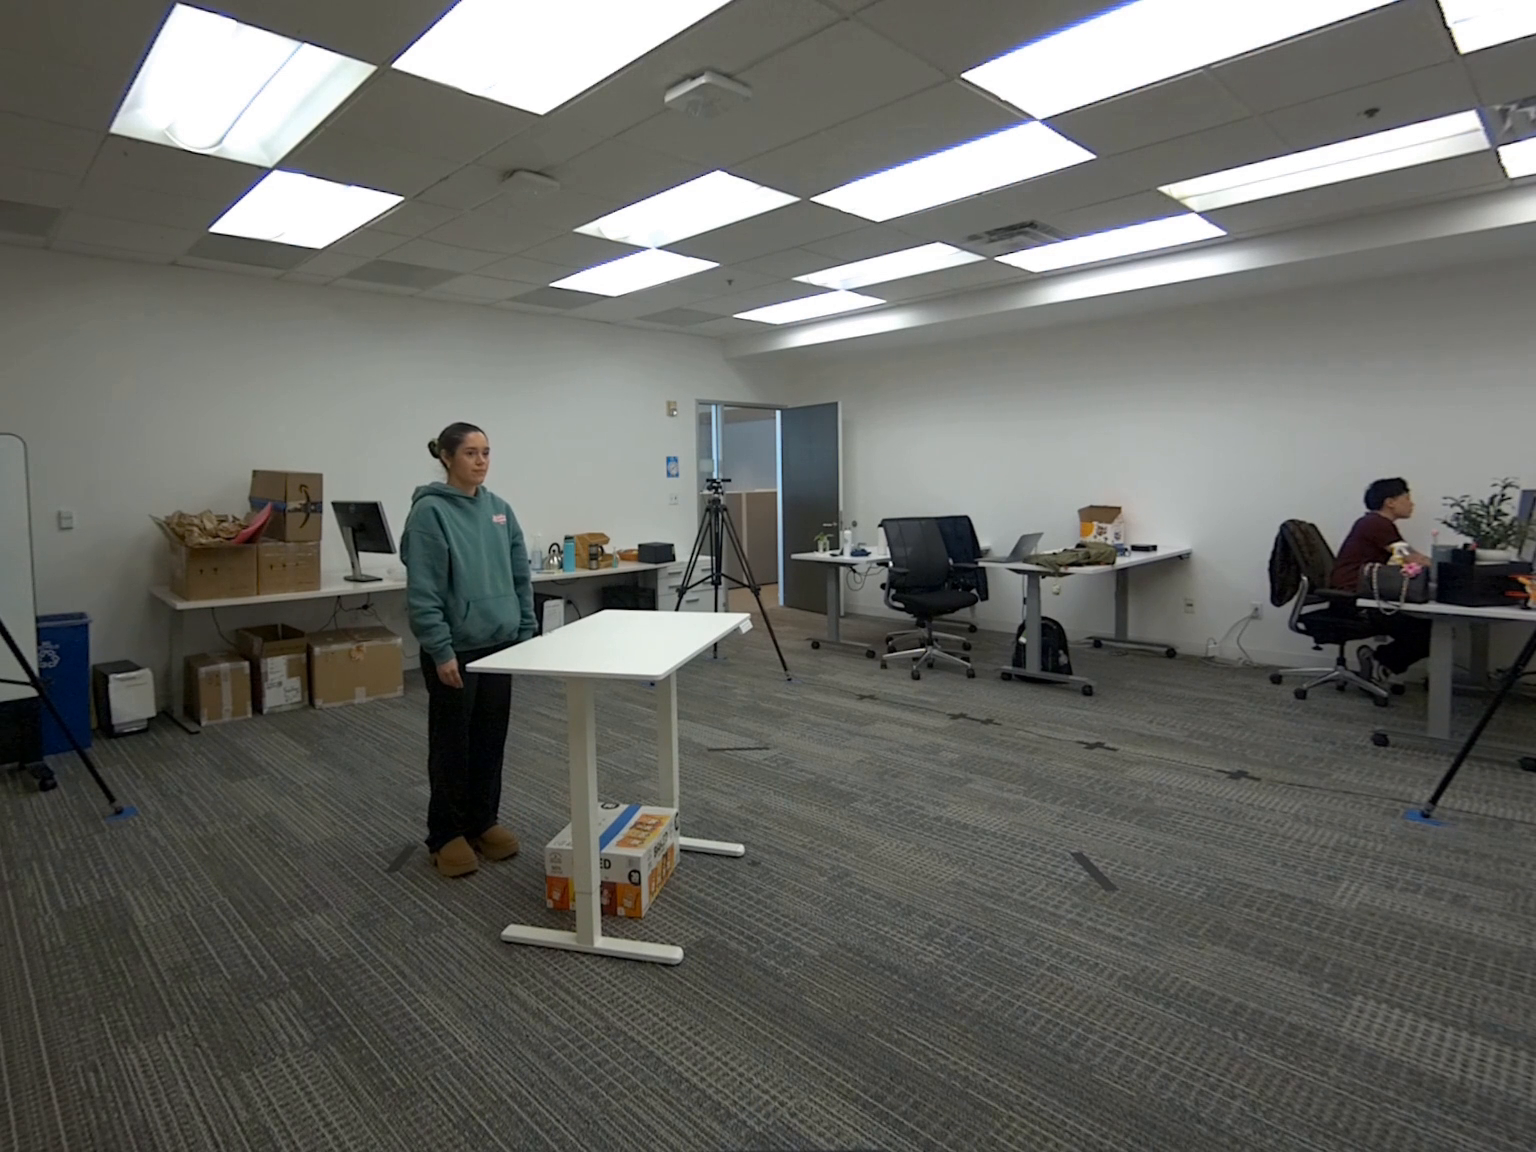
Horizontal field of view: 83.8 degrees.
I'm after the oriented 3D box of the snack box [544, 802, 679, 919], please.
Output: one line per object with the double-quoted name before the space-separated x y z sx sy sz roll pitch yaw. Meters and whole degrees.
"snack box" -0.526 0.969 2.954 0.345 0.205 0.402 0 6 12
